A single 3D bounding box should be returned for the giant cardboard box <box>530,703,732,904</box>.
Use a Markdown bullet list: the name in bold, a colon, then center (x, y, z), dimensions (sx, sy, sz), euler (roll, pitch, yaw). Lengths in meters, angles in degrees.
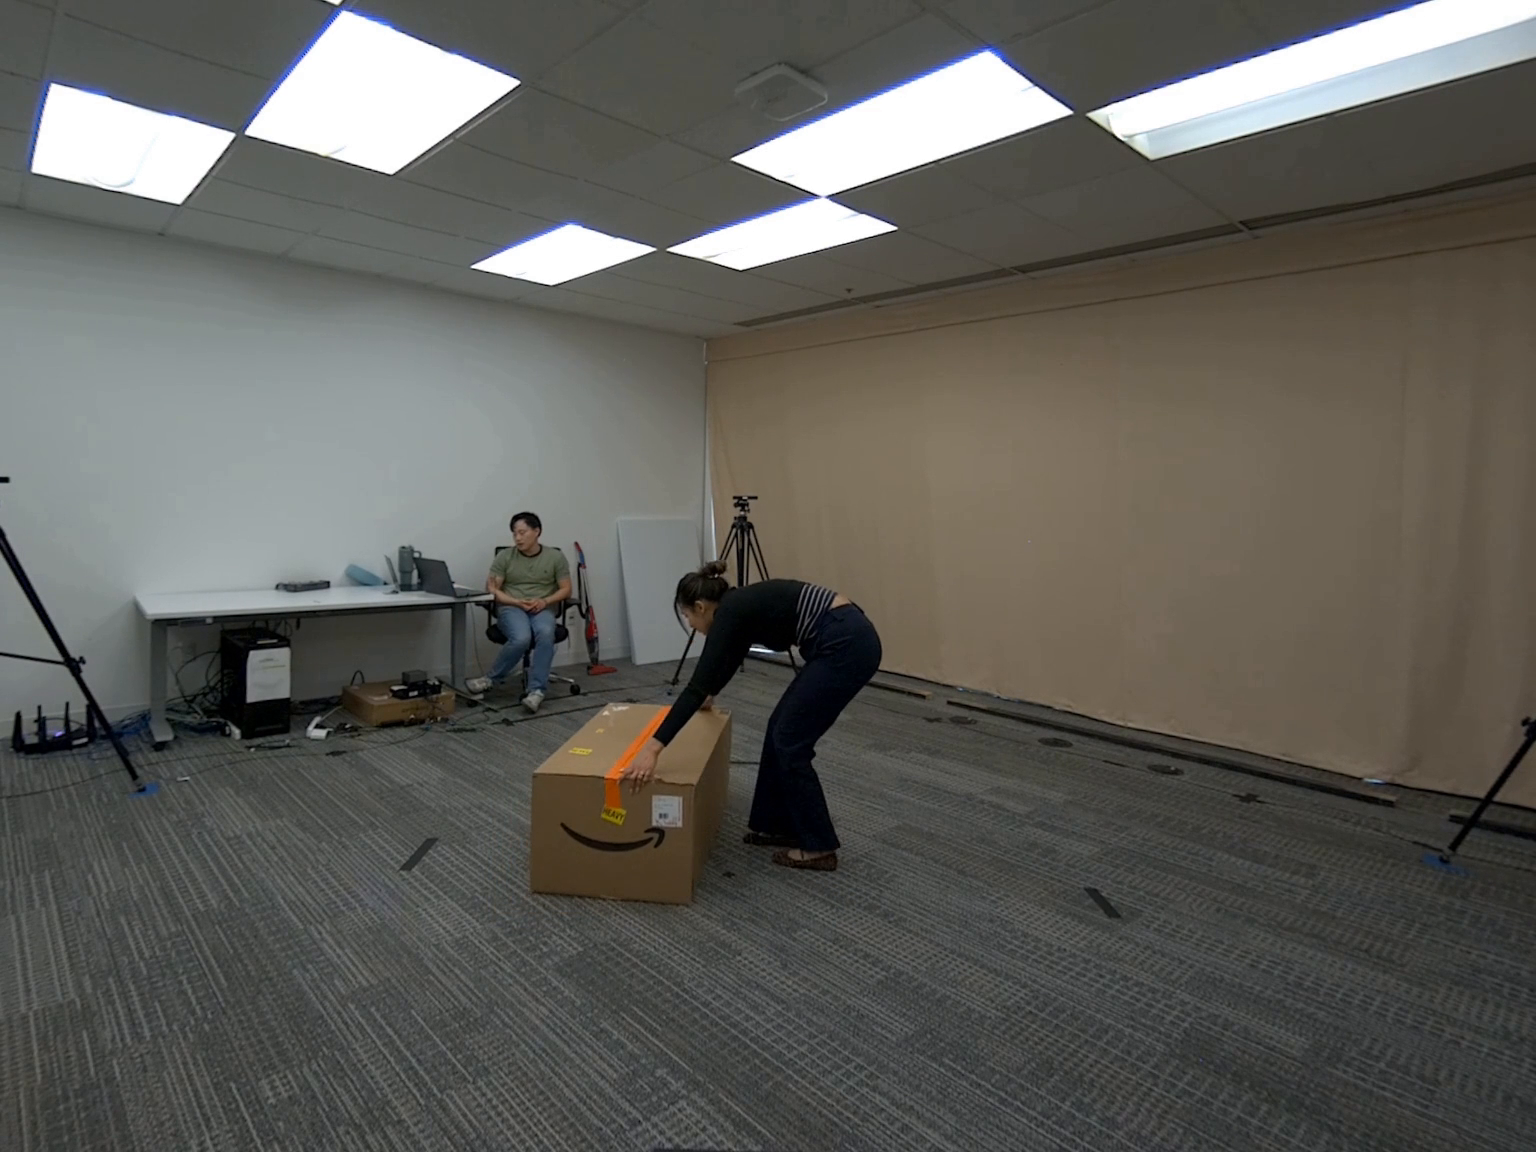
- **giant cardboard box**: center (-0.505, 0.853, 3.383), dimensions (0.580, 0.425, 1.024), euler (2, 5, 5)
